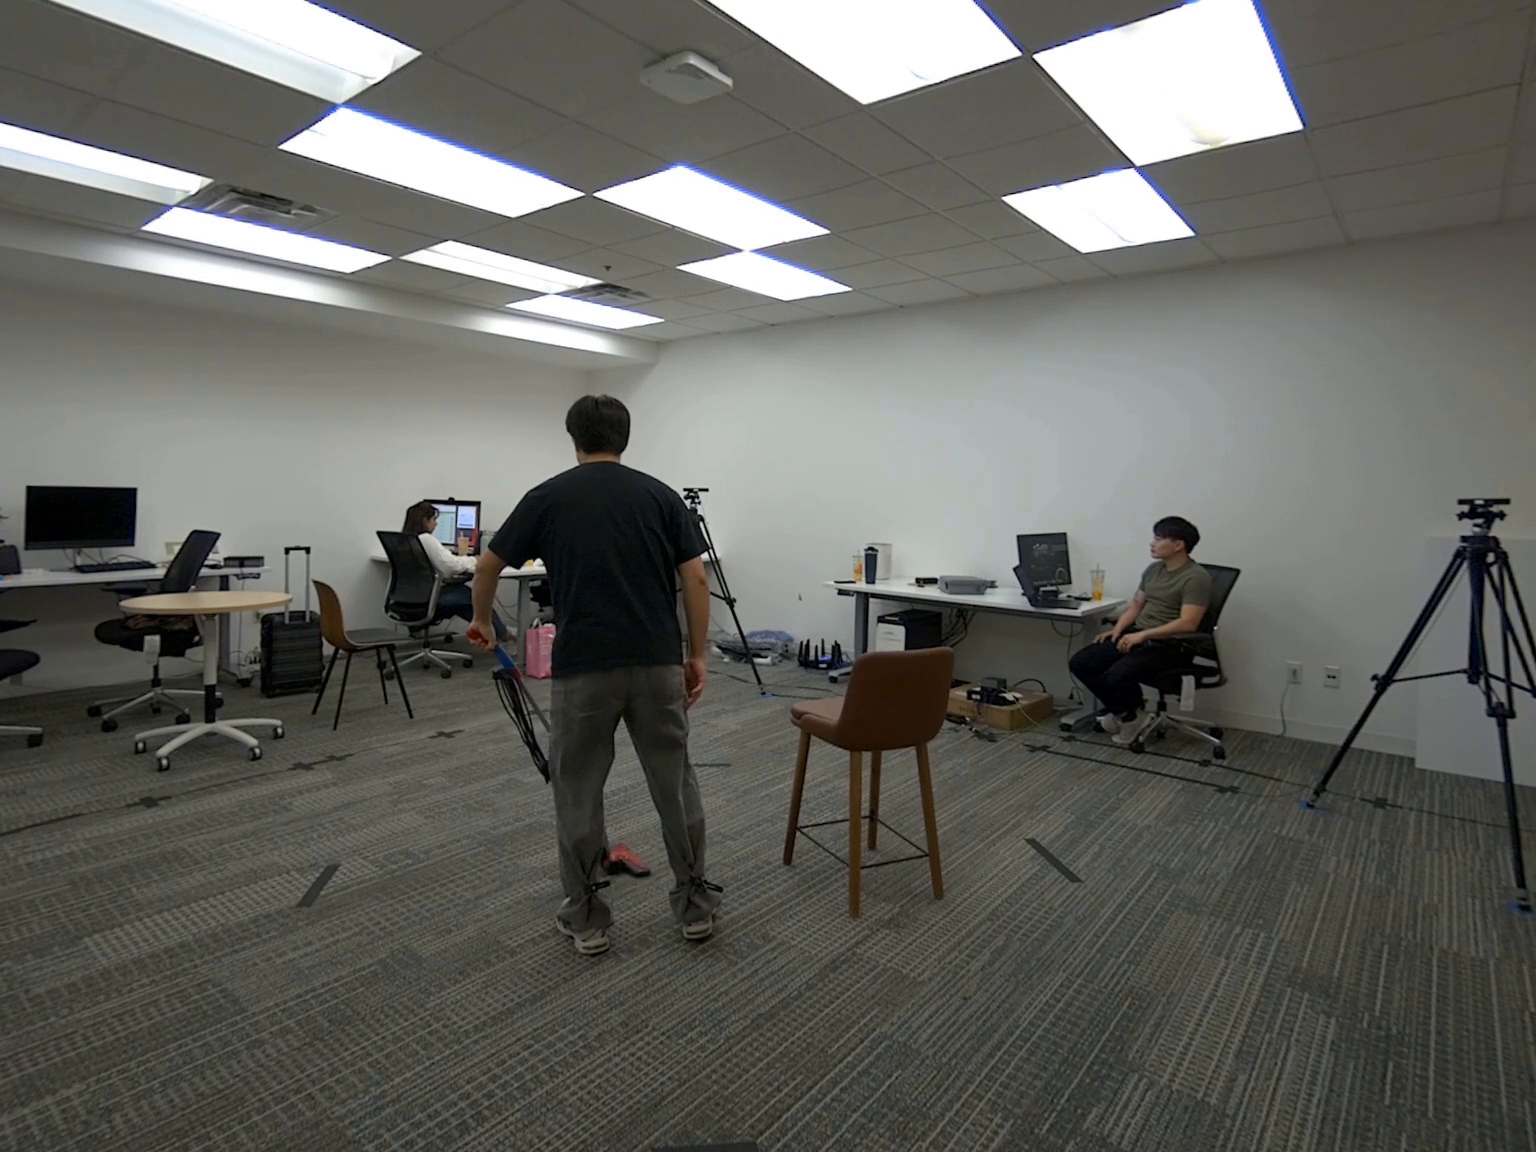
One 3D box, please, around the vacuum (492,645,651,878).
[{"bbox_3d":[-0.759,0.627,2.964,0.143,1.025,0.260,-37,22,-31],"label":"vacuum"}]
